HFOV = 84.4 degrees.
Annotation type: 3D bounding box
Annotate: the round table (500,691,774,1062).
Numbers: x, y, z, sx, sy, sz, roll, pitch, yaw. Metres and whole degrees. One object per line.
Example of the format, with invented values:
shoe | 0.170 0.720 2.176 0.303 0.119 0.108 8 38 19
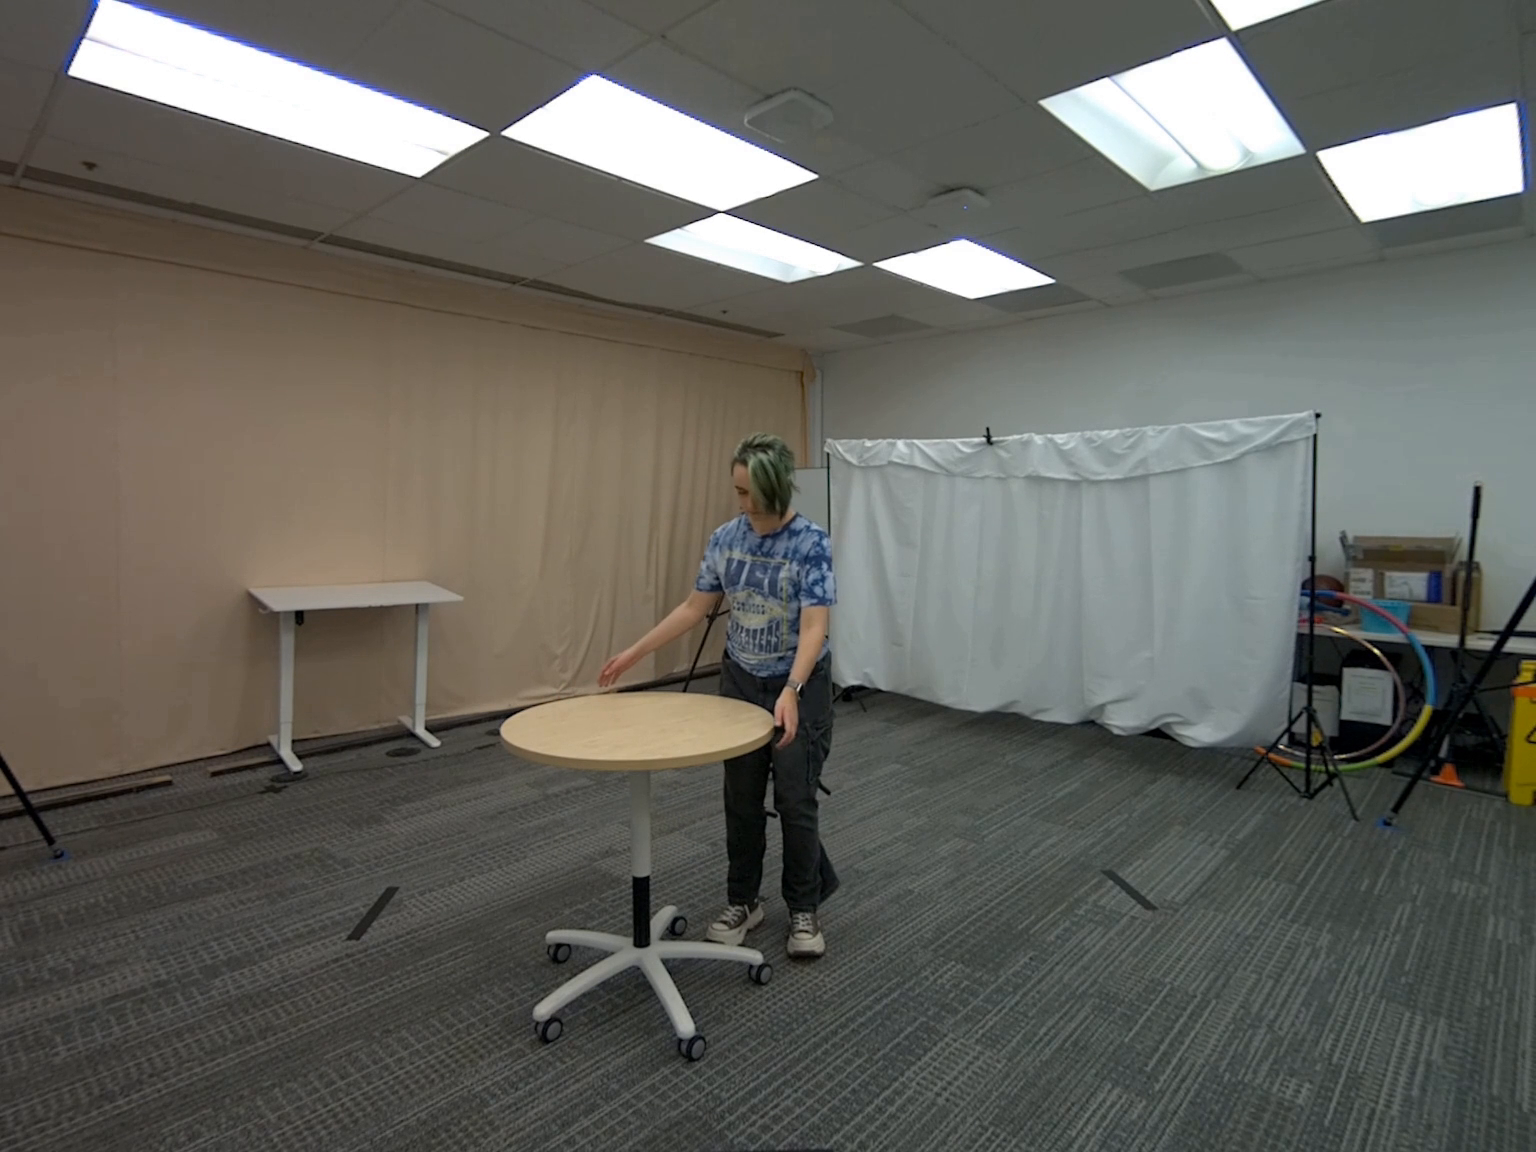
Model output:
round table | -0.365 0.807 2.392 0.763 0.792 0.767 -1 4 -2
